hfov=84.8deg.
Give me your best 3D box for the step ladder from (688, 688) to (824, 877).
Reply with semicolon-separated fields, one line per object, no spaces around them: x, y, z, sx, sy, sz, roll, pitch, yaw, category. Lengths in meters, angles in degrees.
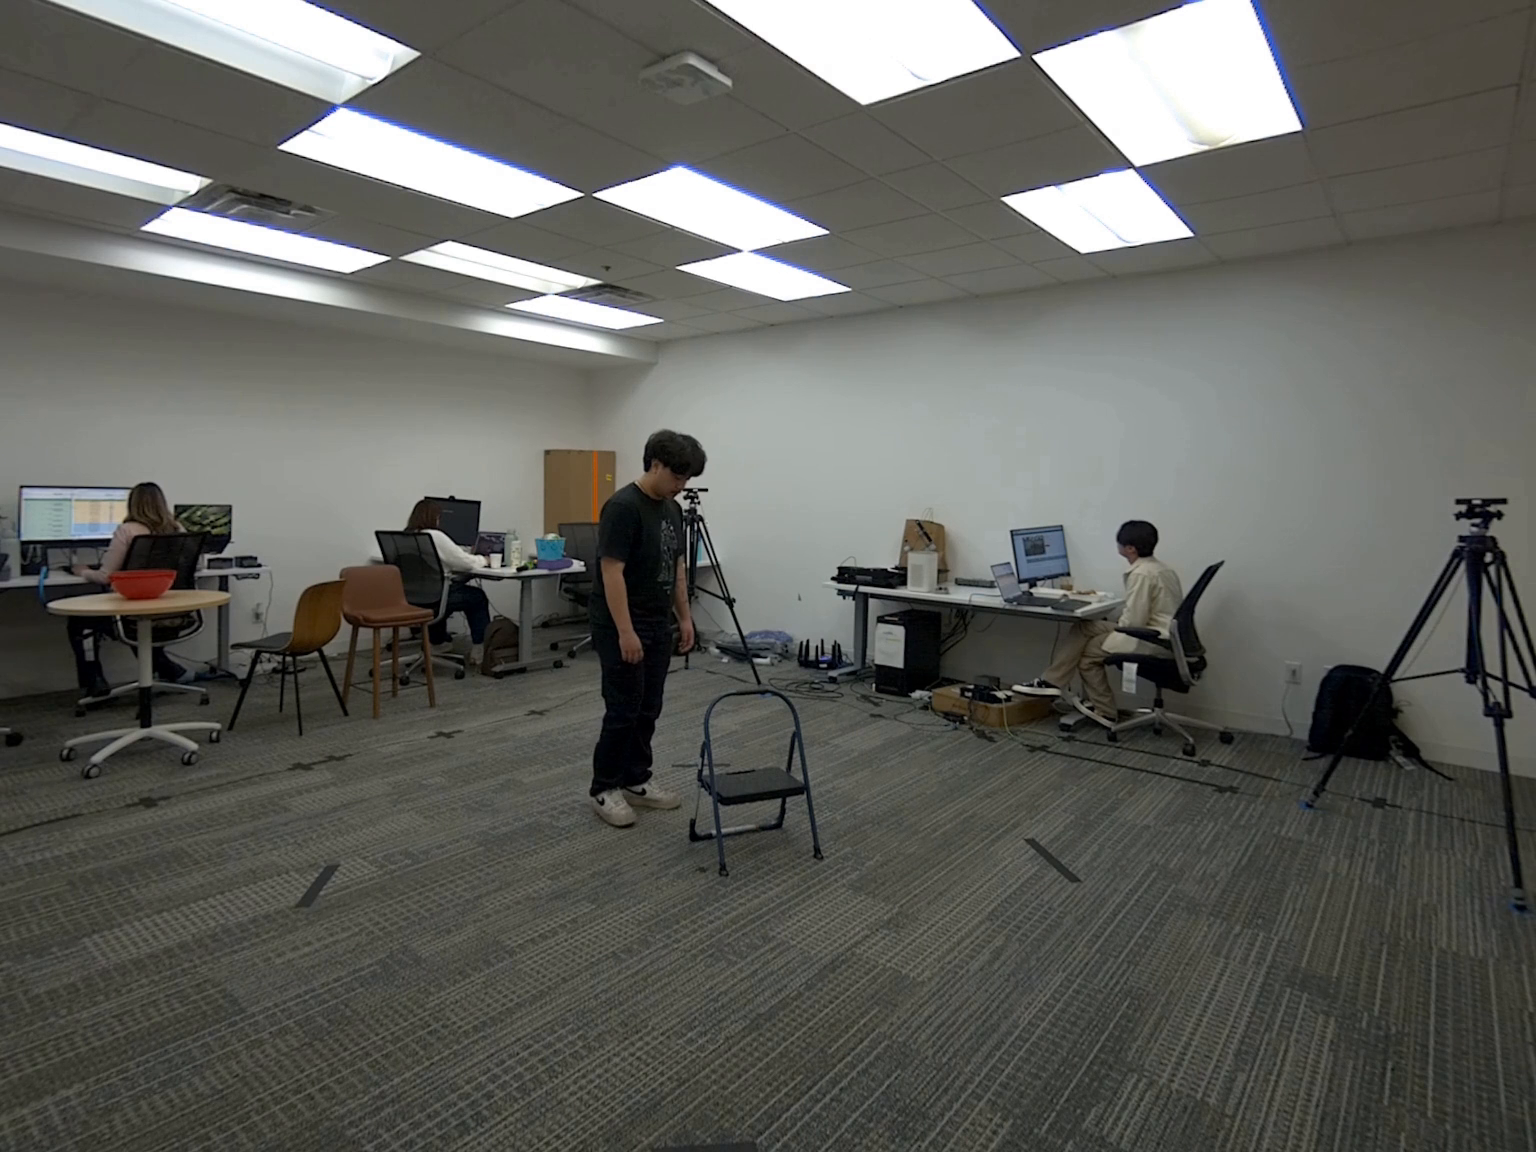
-0.057;0.752;3.281;0.420;0.604;0.359;0;4;-26;step ladder
